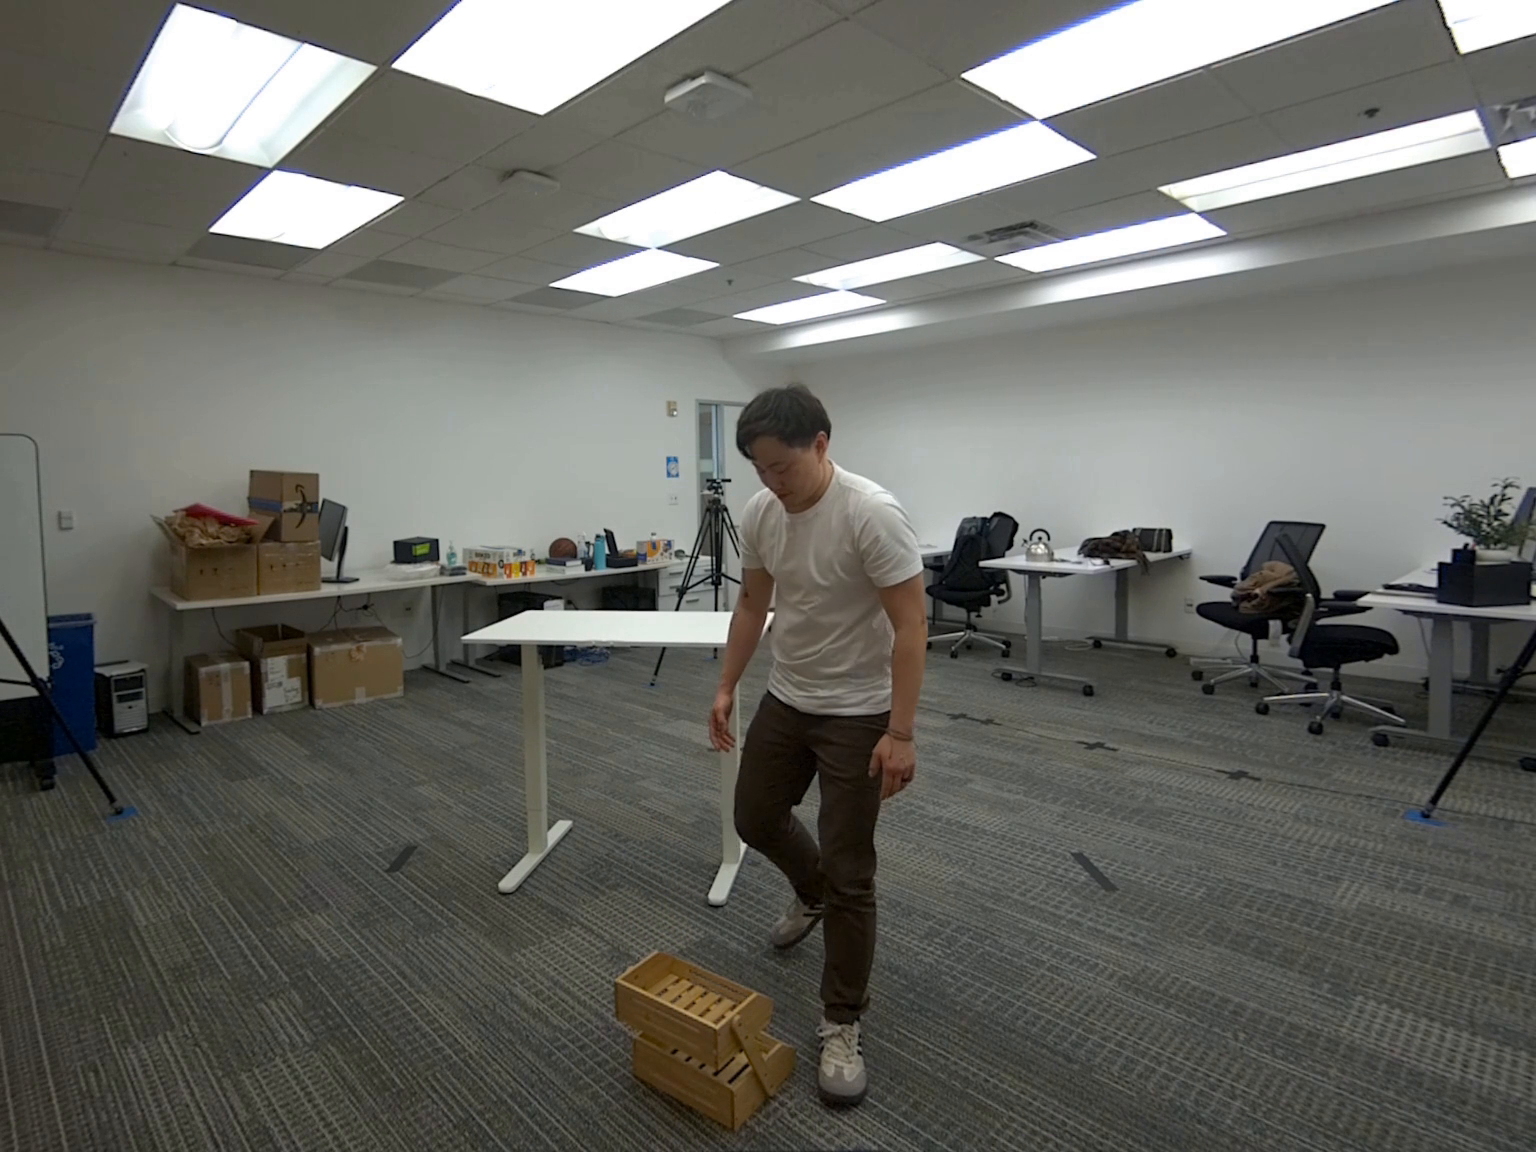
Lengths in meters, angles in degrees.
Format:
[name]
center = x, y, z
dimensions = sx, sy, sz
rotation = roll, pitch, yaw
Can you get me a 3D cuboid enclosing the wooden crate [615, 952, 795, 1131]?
[wooden crate]
center = -0.134, 1.040, 1.998
dimensions = 0.334, 0.272, 0.295
rotation = 2, 8, 36
